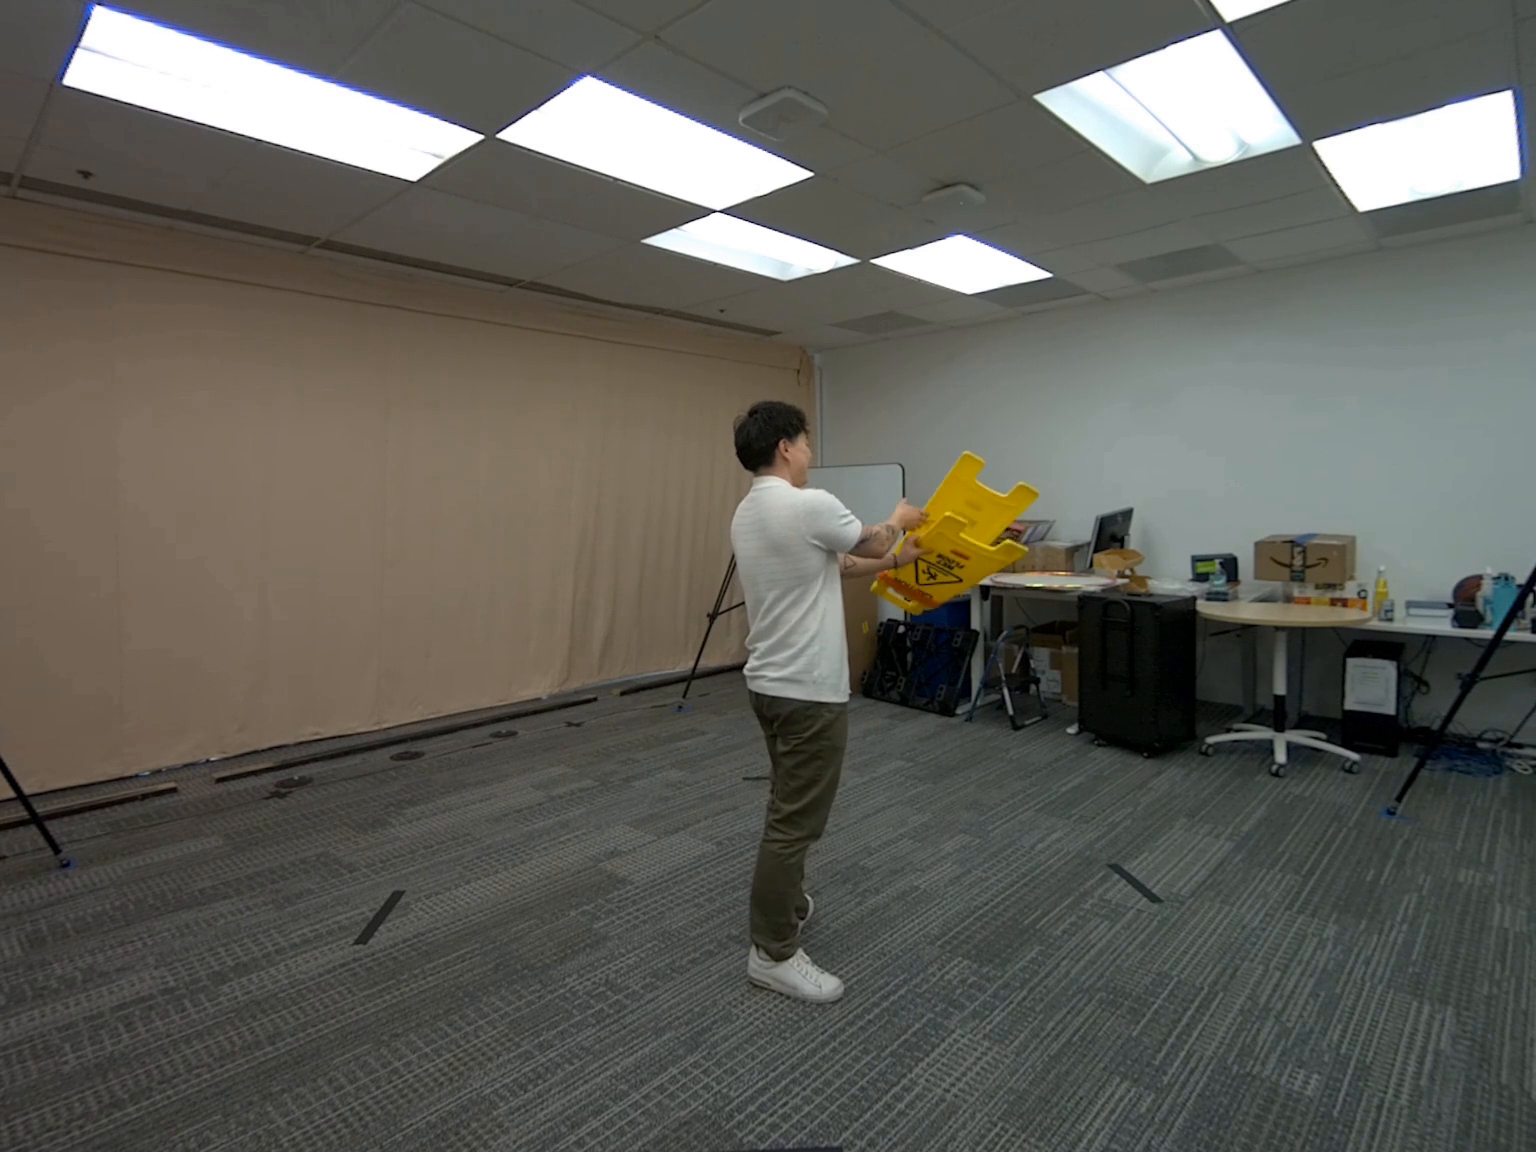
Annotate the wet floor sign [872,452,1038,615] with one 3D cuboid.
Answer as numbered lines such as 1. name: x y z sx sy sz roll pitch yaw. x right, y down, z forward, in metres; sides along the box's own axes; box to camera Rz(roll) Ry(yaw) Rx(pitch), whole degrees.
1. wet floor sign: 0.575 -0.062 2.836 0.281 0.290 0.647 29 -38 -5
